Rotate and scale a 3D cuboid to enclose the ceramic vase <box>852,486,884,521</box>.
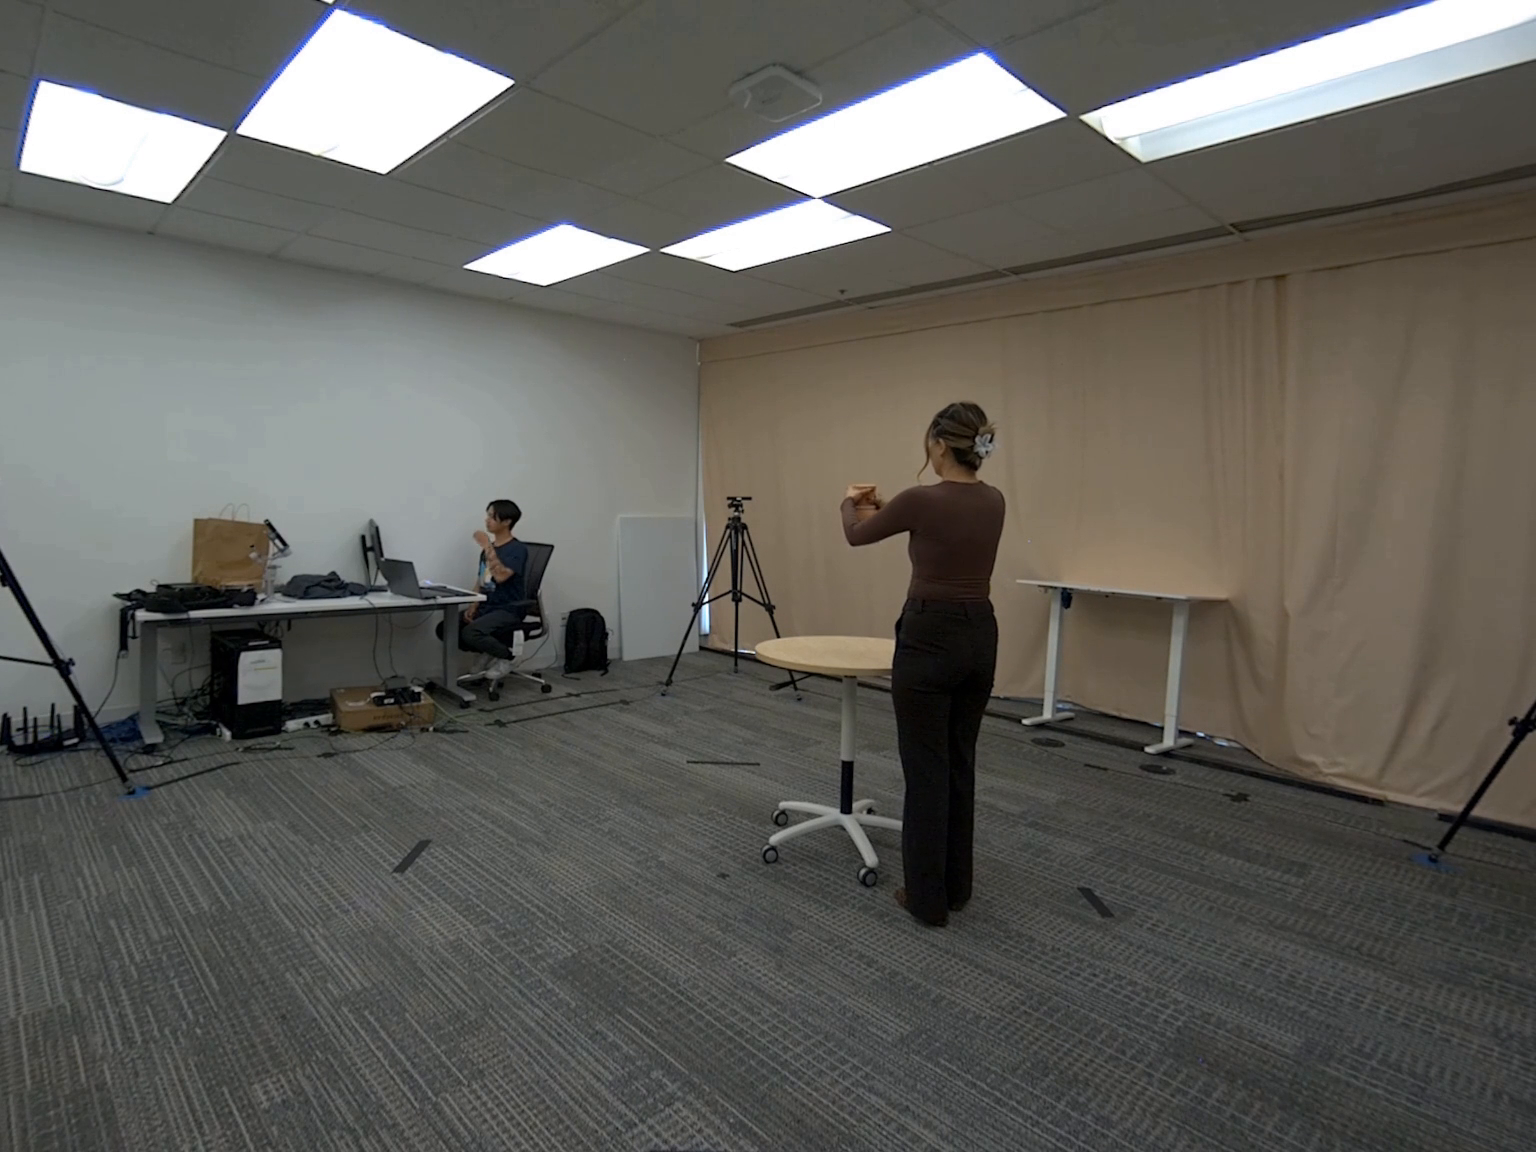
[{"bbox_3d":[0.365,-0.240,3.260,0.163,0.219,0.132,6,9,44],"label":"ceramic vase"}]
